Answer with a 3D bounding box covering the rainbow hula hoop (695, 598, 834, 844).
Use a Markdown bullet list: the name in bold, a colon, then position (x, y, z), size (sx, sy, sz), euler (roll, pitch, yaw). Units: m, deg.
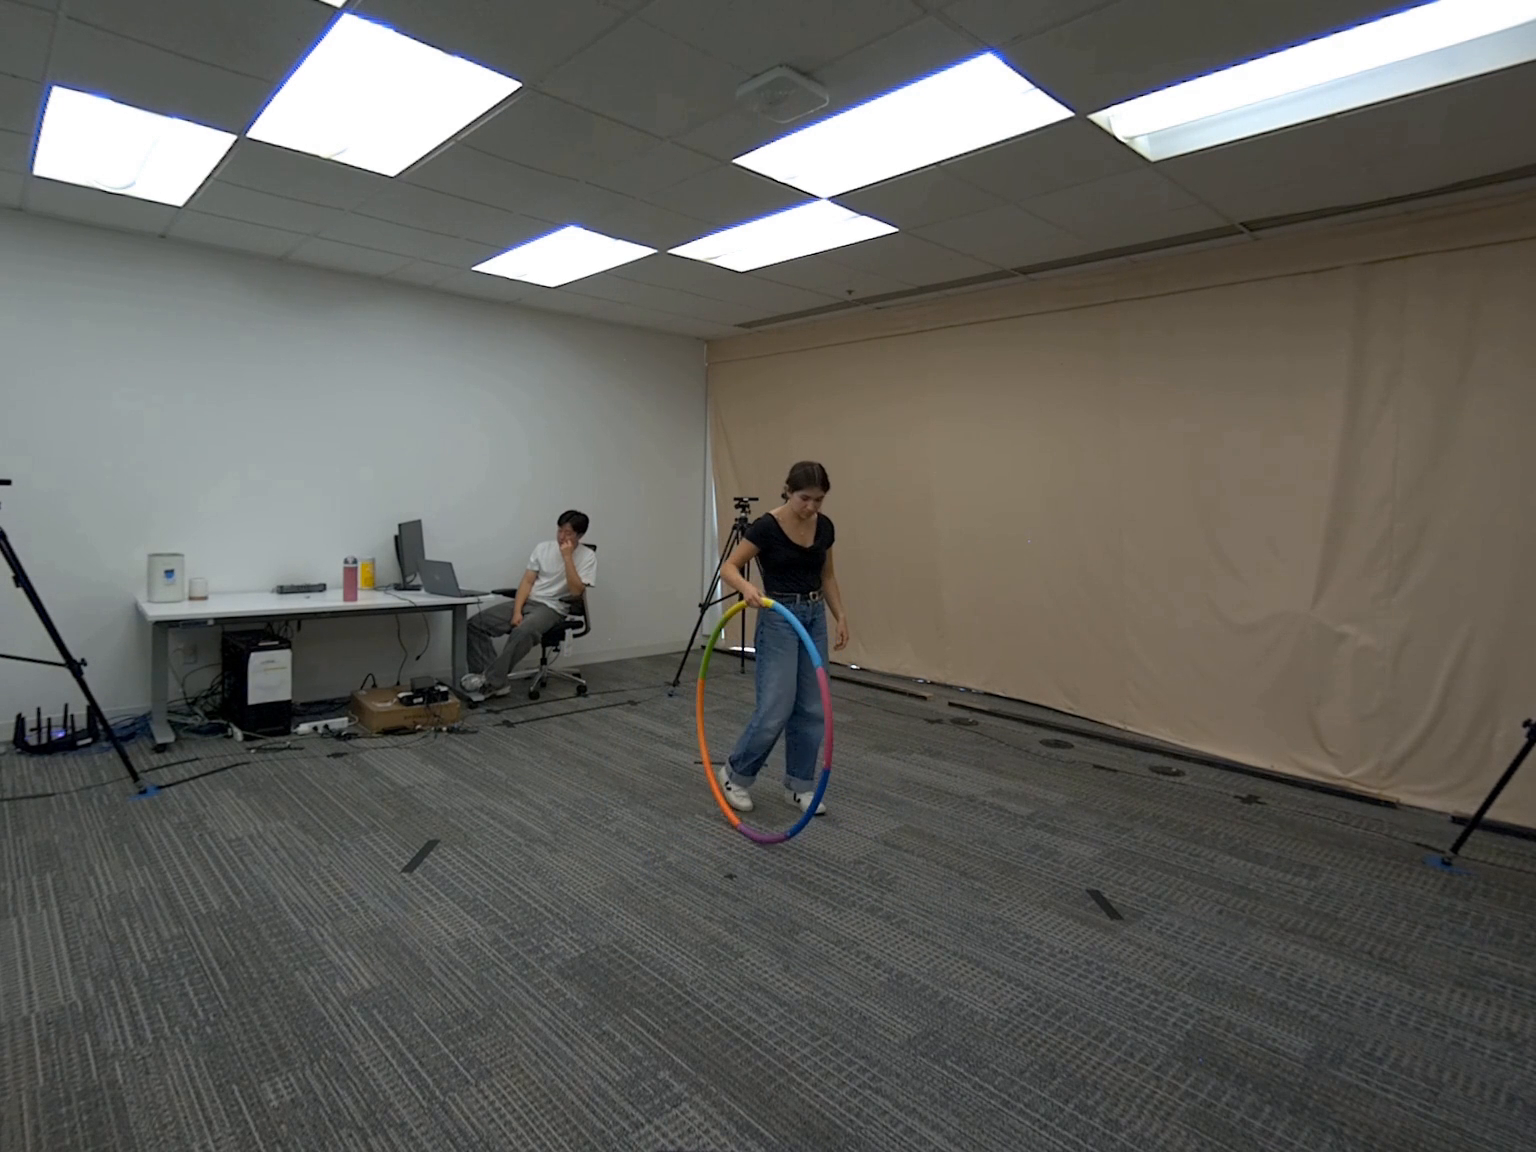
- **rainbow hula hoop**: position (-0.048, 0.589, 3.438), size (0.035, 0.977, 1.002), euler (2, 3, -34)
